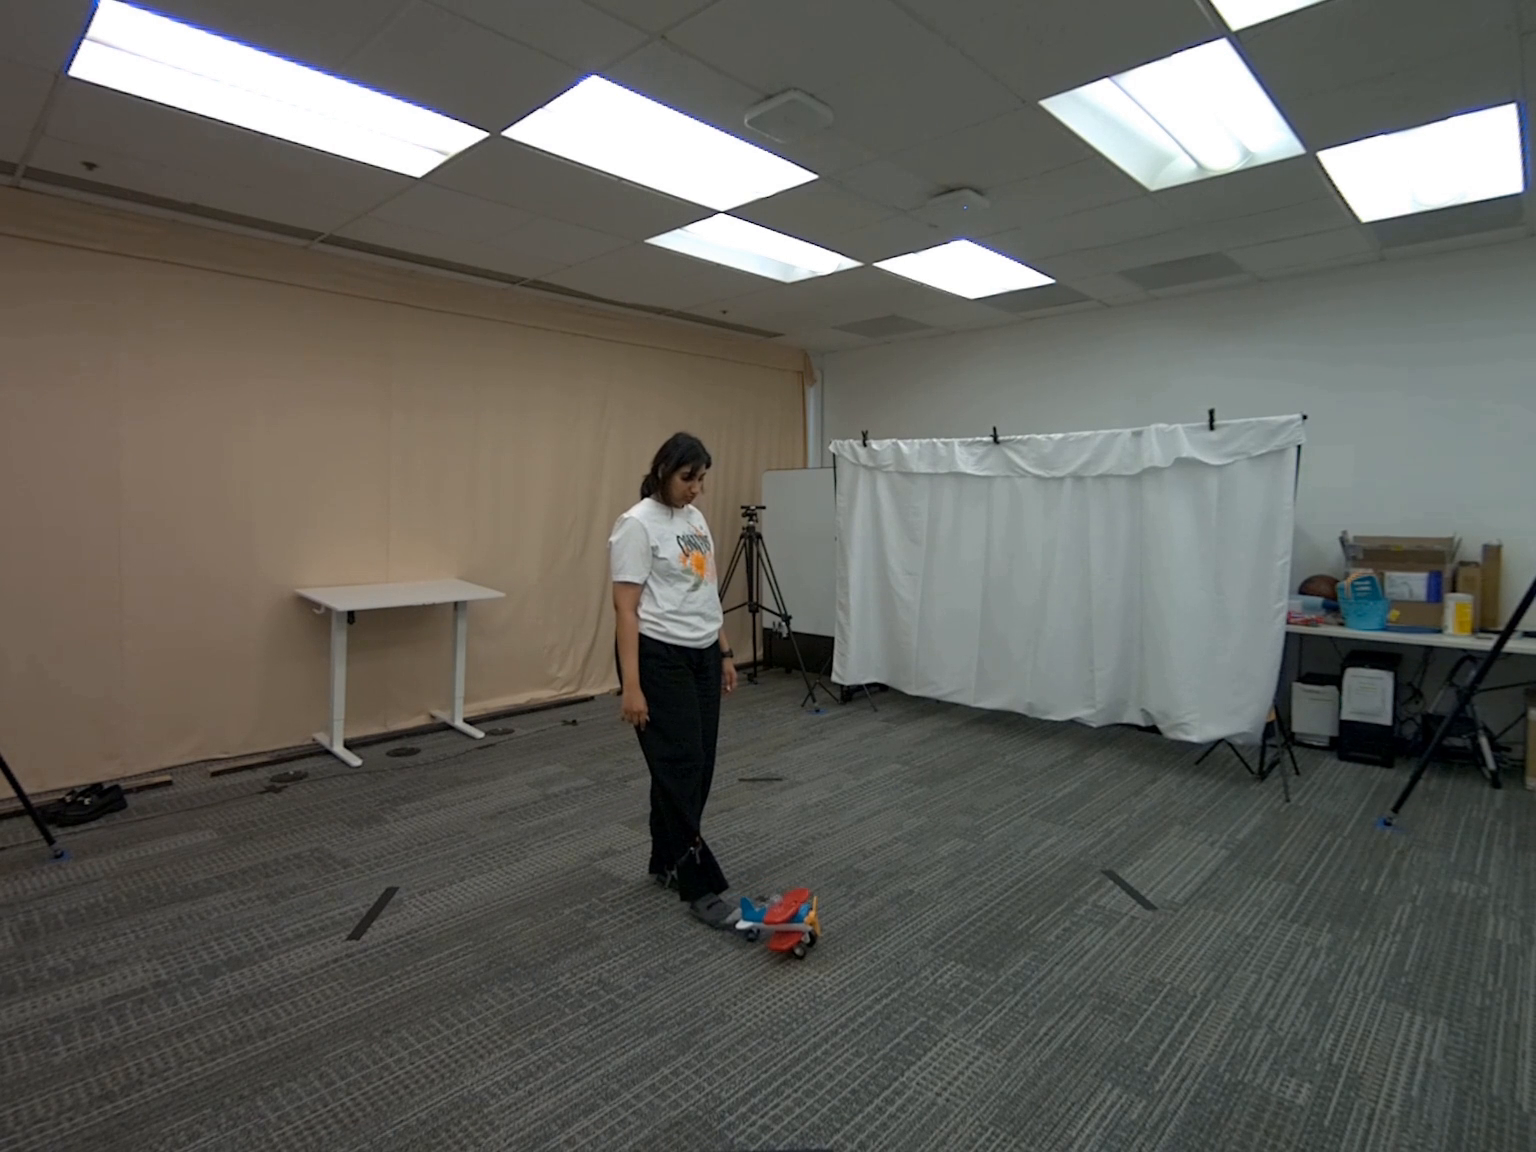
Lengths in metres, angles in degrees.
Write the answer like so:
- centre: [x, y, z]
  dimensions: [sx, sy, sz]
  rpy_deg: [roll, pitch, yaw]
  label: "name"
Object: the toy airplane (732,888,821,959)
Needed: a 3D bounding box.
- centre: [0.027, 1.096, 2.645]
  dimensions: [0.259, 0.156, 0.252]
  rpy_deg: [1, 5, -2]
  label: "toy airplane"
